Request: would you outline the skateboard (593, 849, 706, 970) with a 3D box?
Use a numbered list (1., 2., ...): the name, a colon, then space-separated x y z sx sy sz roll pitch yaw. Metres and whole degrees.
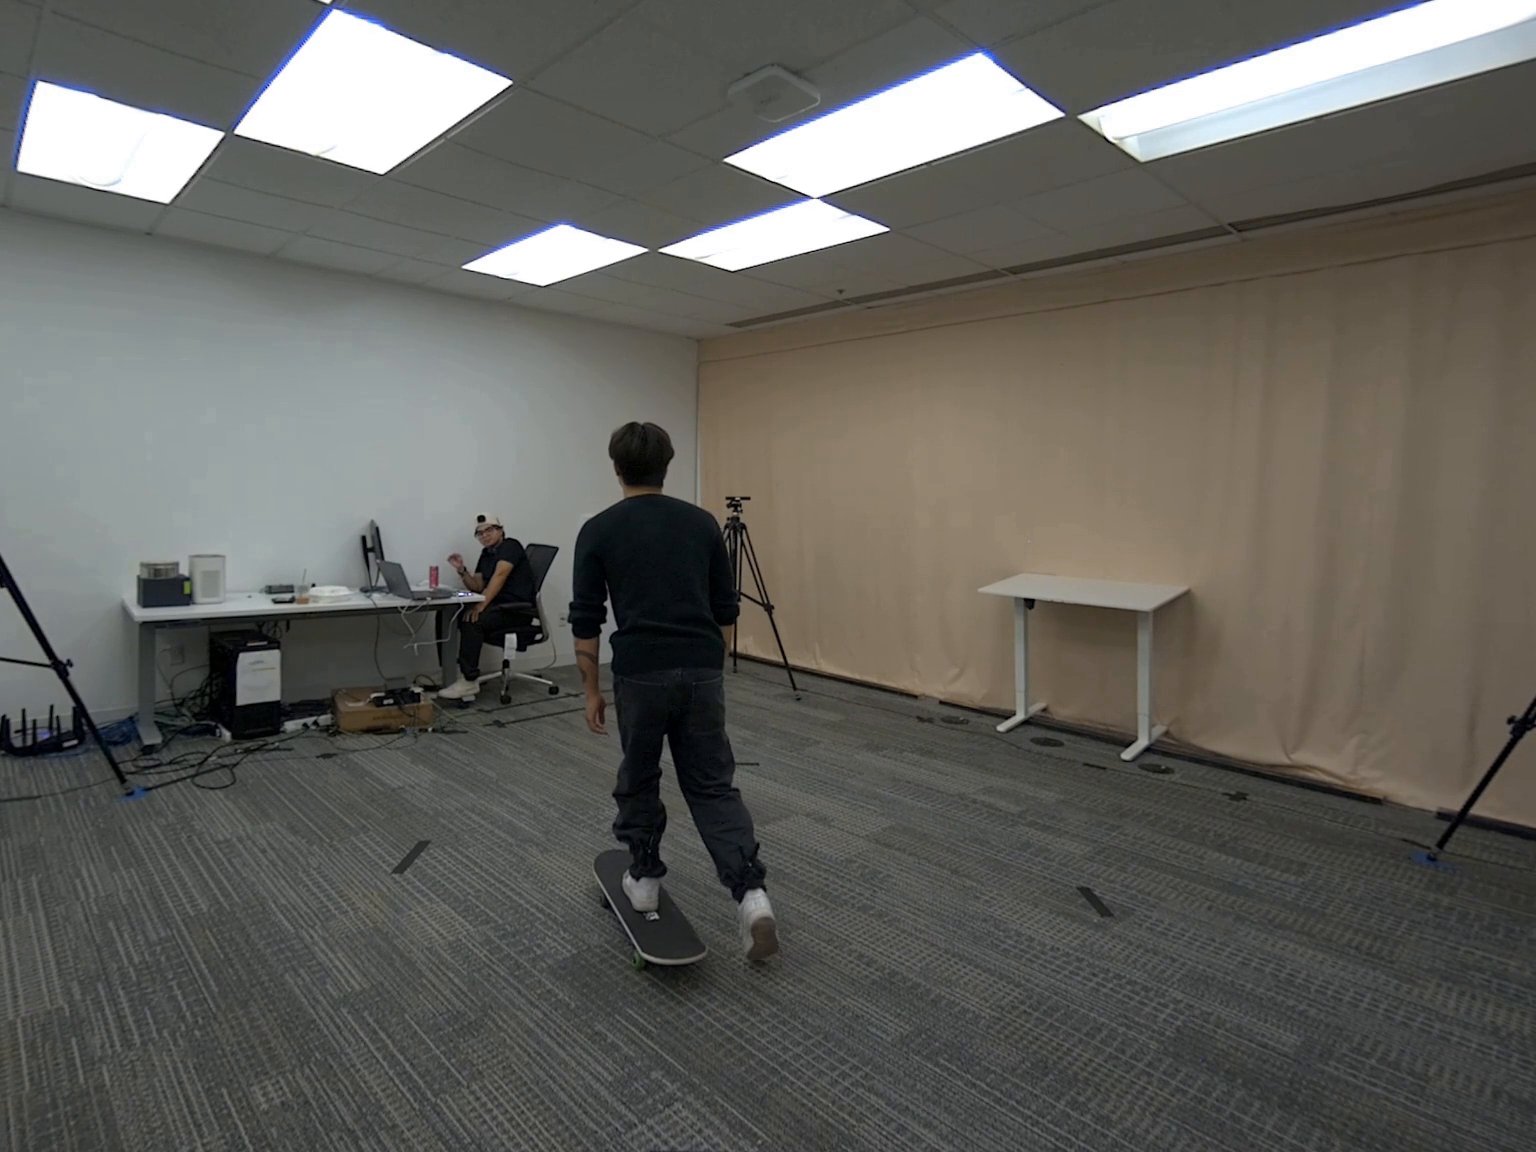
1. skateboard: -0.408 1.087 2.692 0.190 0.110 0.801 0 6 -23
